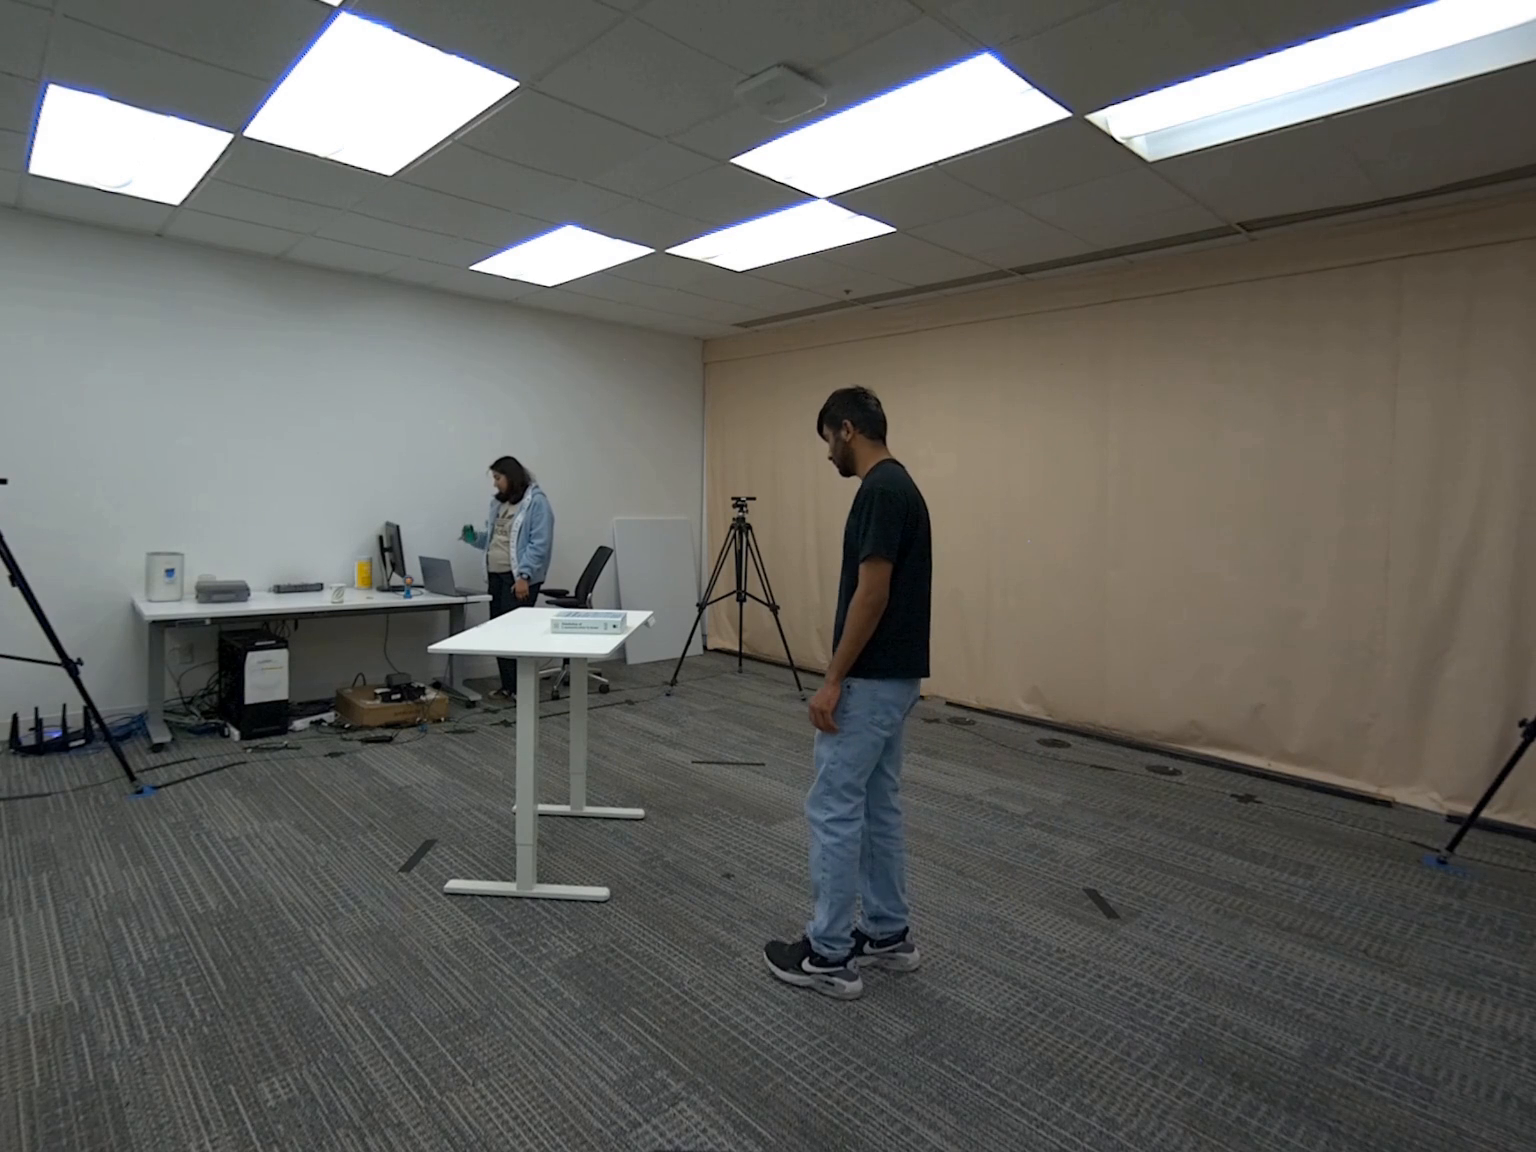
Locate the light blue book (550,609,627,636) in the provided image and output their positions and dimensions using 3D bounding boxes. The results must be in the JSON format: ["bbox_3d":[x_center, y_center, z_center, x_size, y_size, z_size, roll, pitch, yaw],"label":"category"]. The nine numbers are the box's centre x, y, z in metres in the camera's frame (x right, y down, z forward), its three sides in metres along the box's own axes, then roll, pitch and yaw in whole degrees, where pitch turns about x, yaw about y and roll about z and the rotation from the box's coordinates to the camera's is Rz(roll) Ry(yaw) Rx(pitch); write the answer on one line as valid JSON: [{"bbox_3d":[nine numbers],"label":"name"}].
[{"bbox_3d":[-0.675,0.175,3.189,0.261,0.059,0.192,1,6,0],"label":"light blue book"}]
